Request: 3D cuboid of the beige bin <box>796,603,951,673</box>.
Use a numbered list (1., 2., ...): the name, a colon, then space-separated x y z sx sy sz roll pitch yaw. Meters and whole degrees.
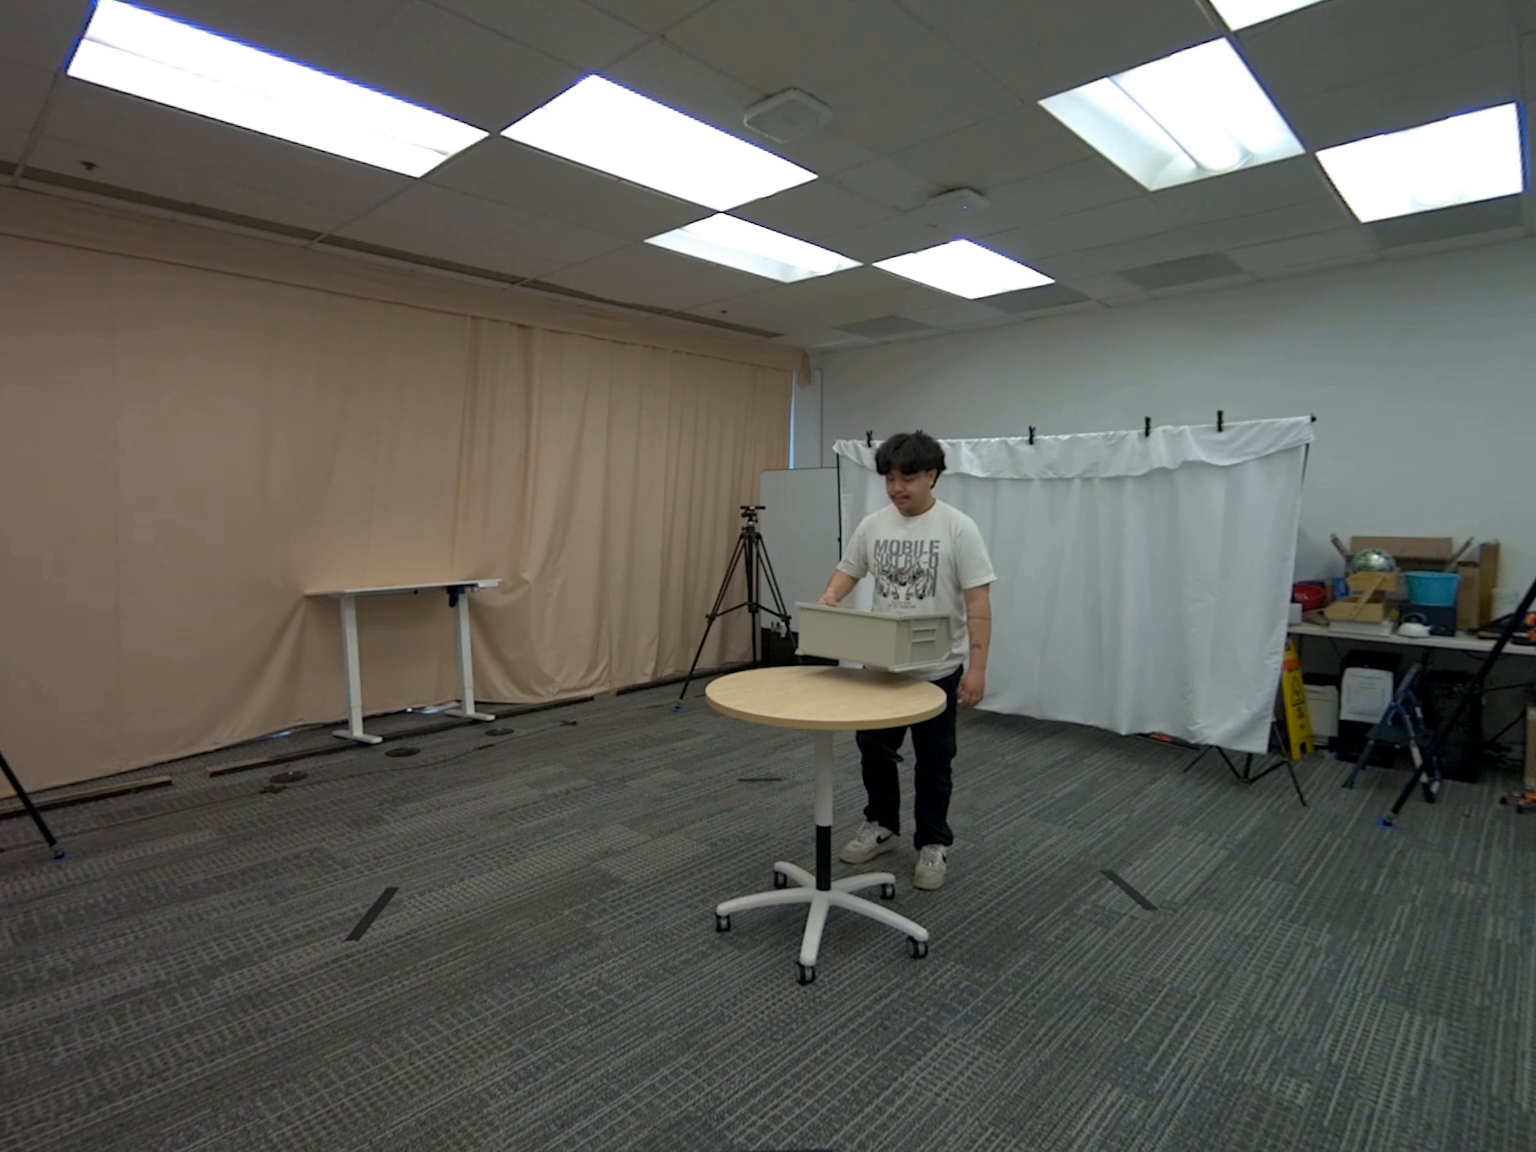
1. beige bin: 0.363 0.200 2.940 0.437 0.188 0.365 7 5 41
